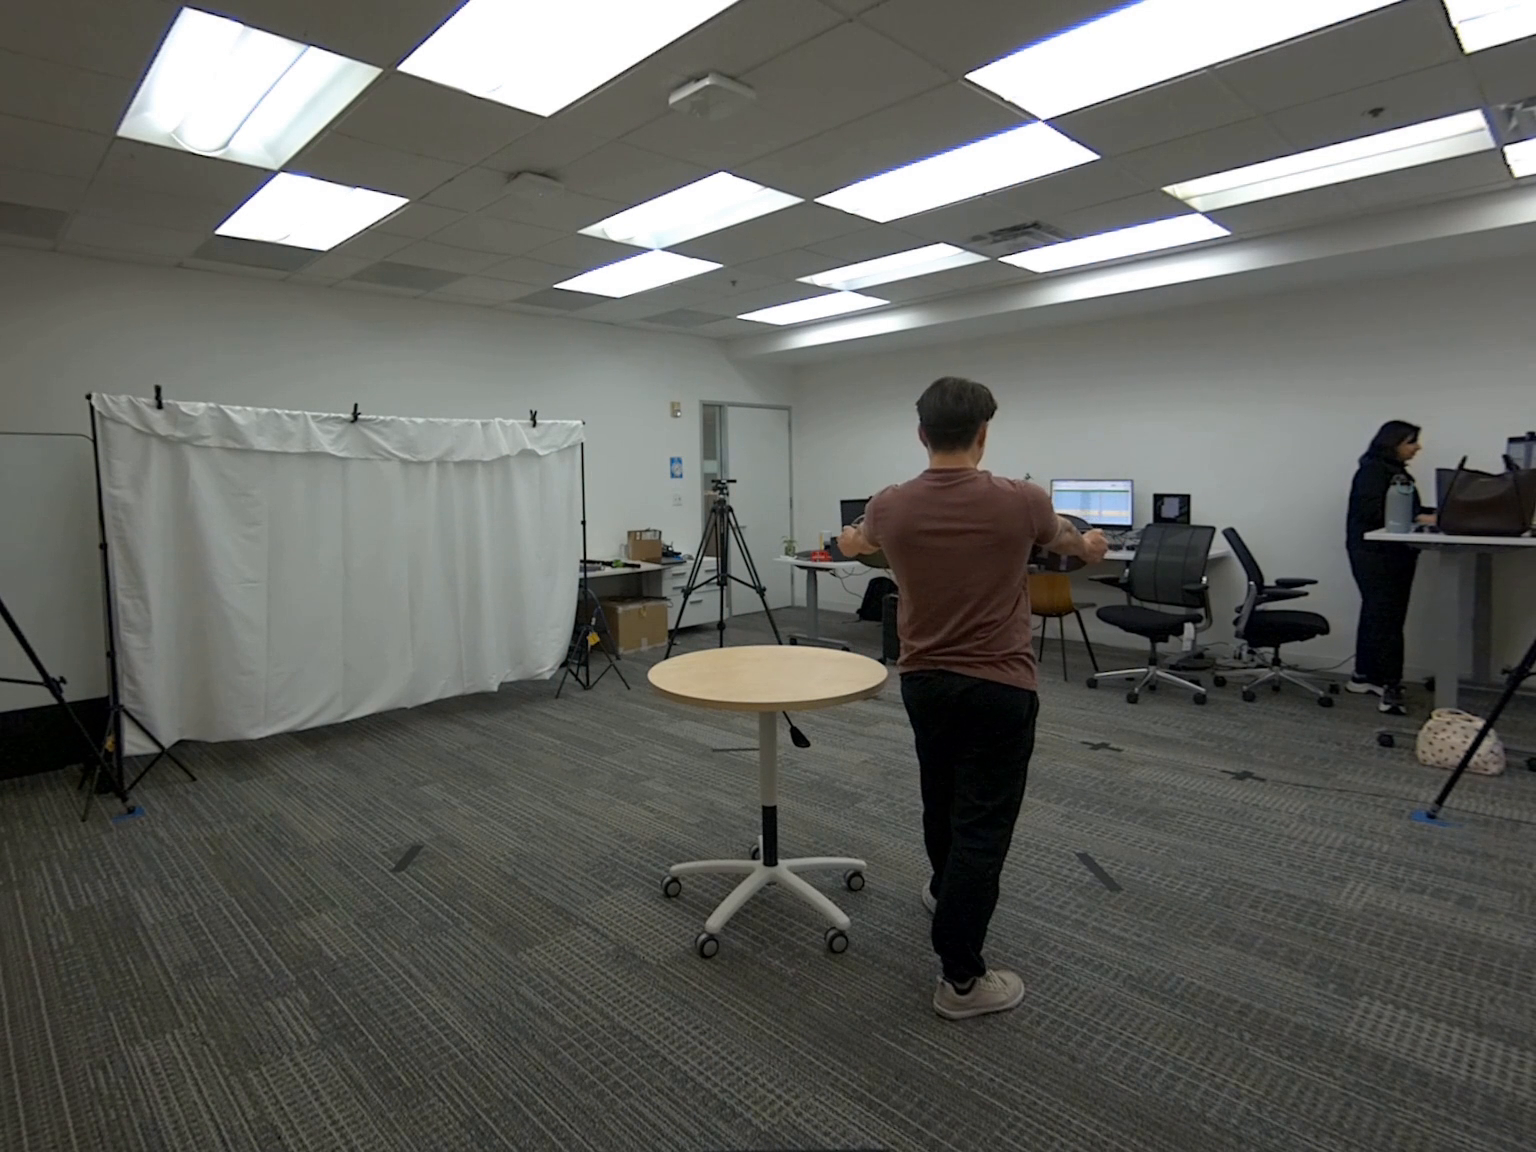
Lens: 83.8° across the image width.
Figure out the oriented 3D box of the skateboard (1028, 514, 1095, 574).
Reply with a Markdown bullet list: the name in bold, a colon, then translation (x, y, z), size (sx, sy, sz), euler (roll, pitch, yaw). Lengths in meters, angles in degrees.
- **skateboard**: translation (0.639, -0.121, 2.768), size (0.801, 0.193, 0.108), euler (2, 1, 21)
